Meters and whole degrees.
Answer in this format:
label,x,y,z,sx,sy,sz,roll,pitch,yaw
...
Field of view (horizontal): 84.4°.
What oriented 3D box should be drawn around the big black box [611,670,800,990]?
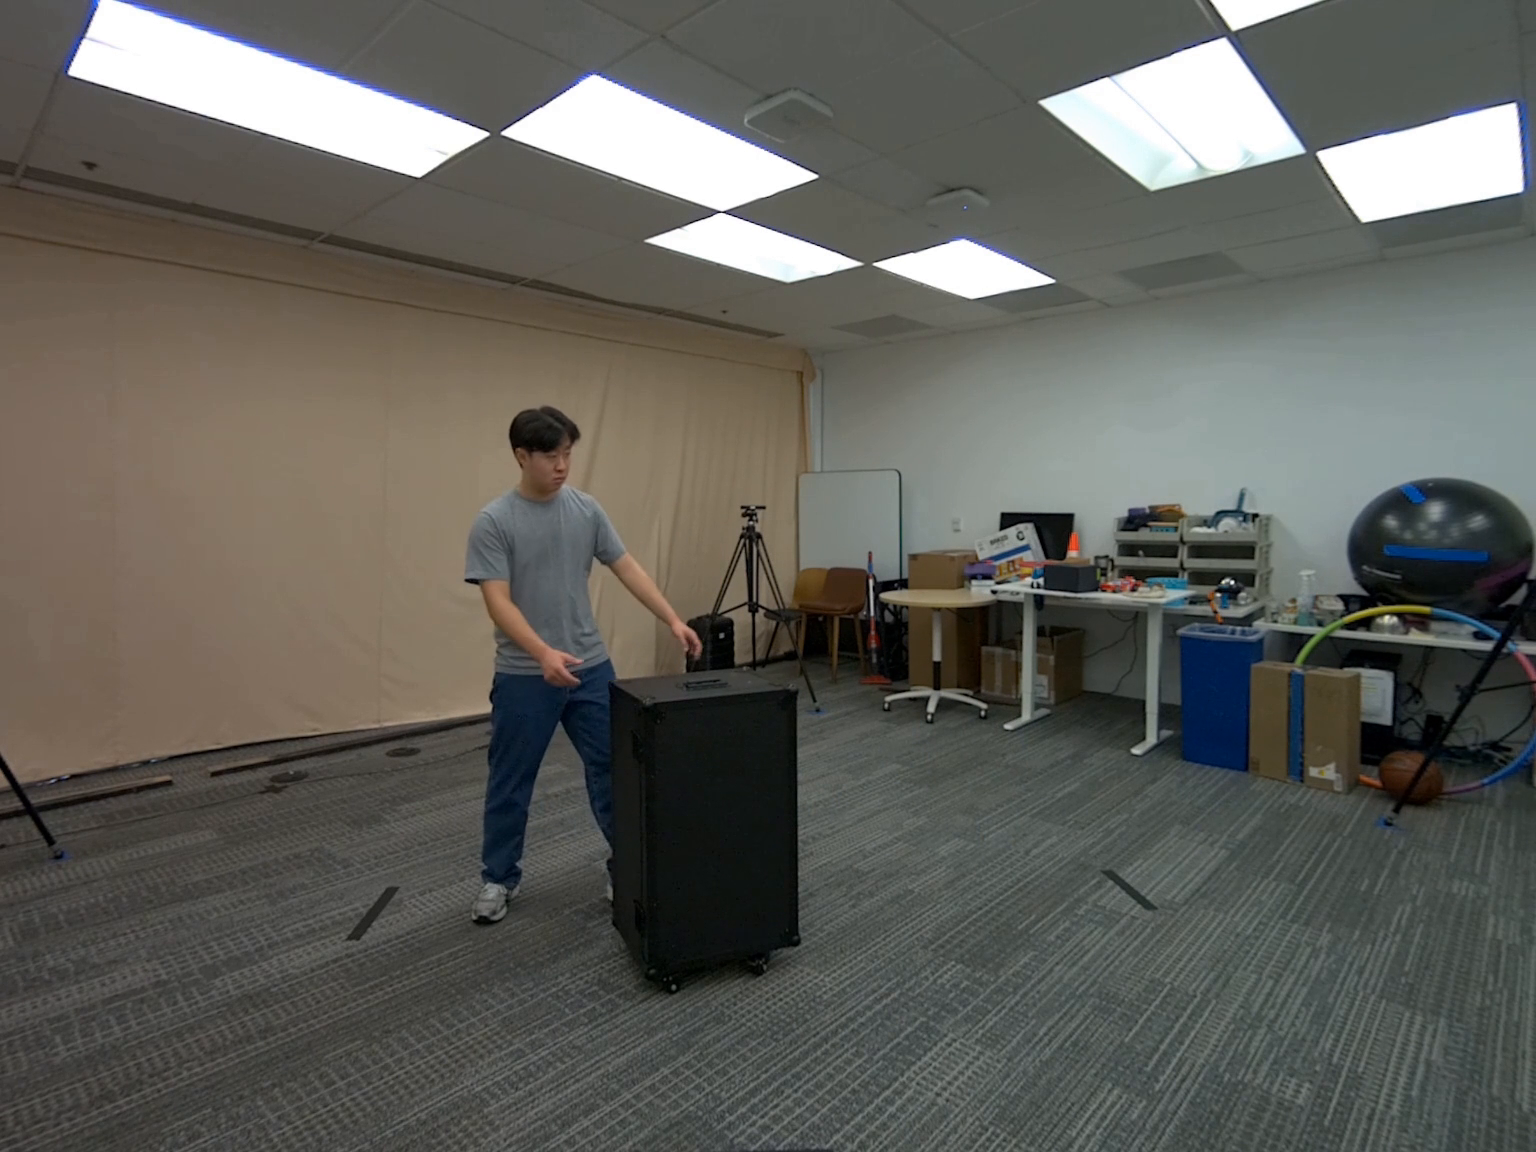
label,x,y,z,sx,sy,sz,roll,pitch,yaw
big black box,-0.205,0.751,2.586,0.509,0.860,0.406,-2,2,-25
